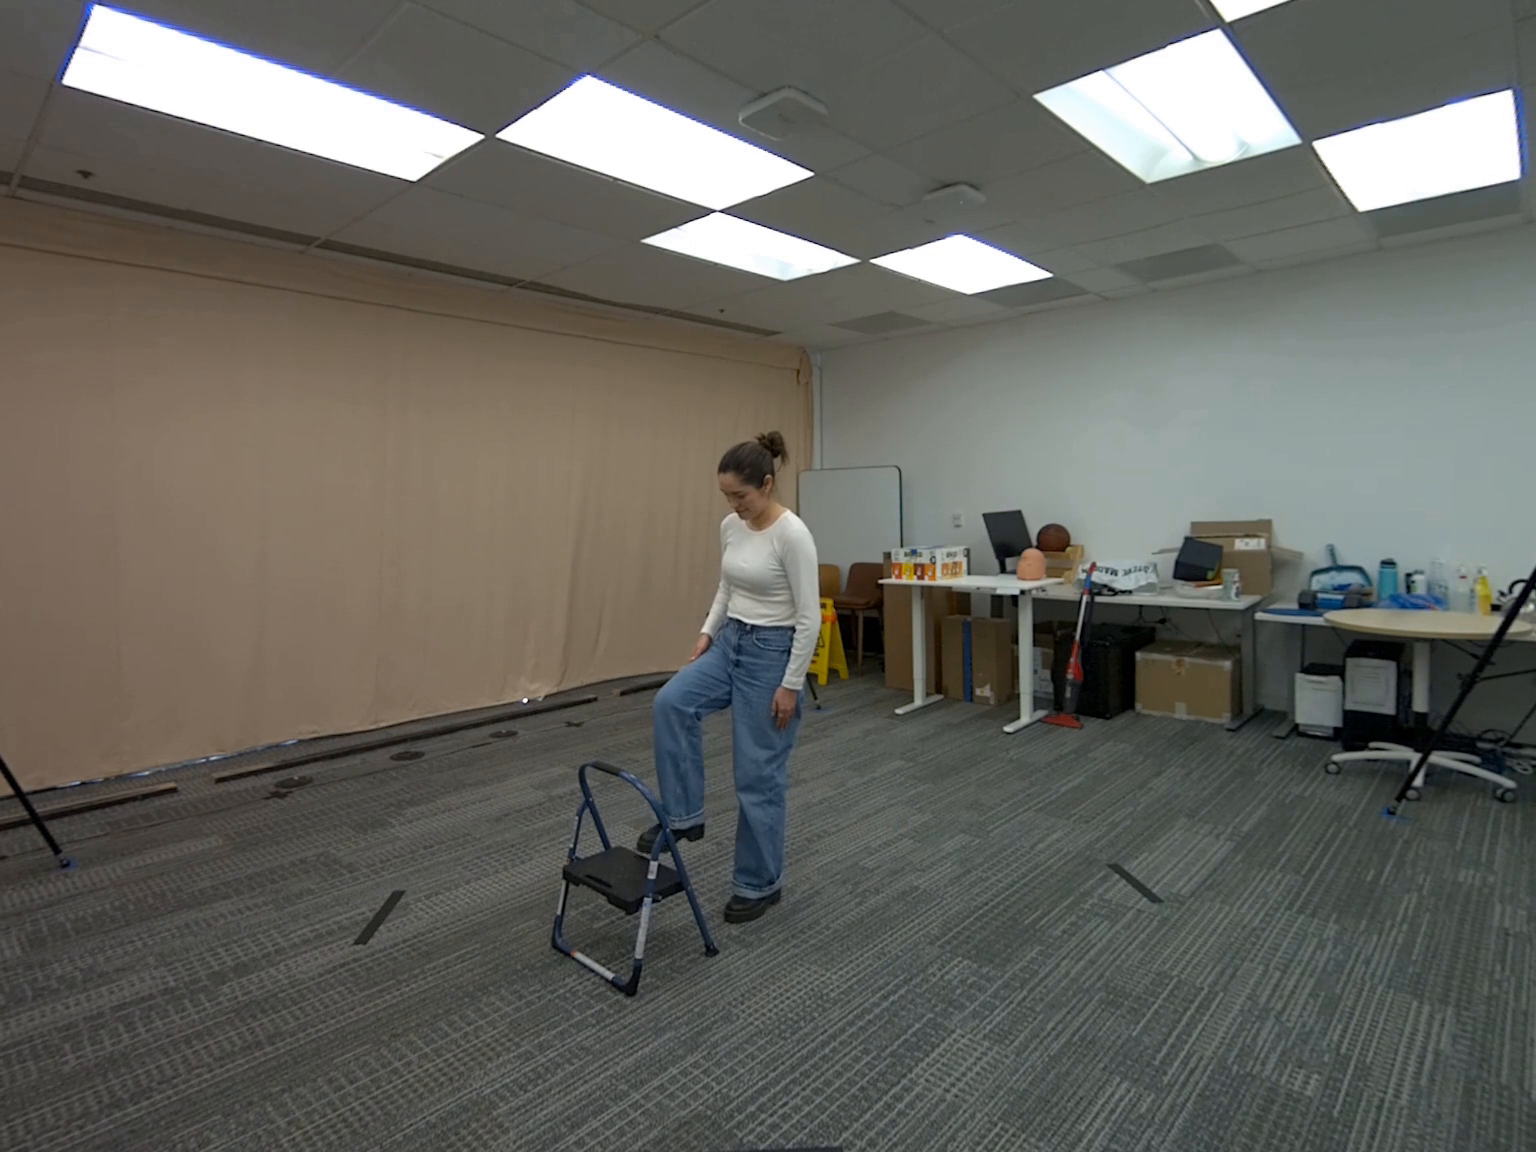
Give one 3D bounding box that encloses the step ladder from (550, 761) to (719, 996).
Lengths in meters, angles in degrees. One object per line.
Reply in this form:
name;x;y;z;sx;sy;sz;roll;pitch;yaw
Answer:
step ladder;-0.429;0.876;2.636;0.445;0.605;0.339;2;5;43
